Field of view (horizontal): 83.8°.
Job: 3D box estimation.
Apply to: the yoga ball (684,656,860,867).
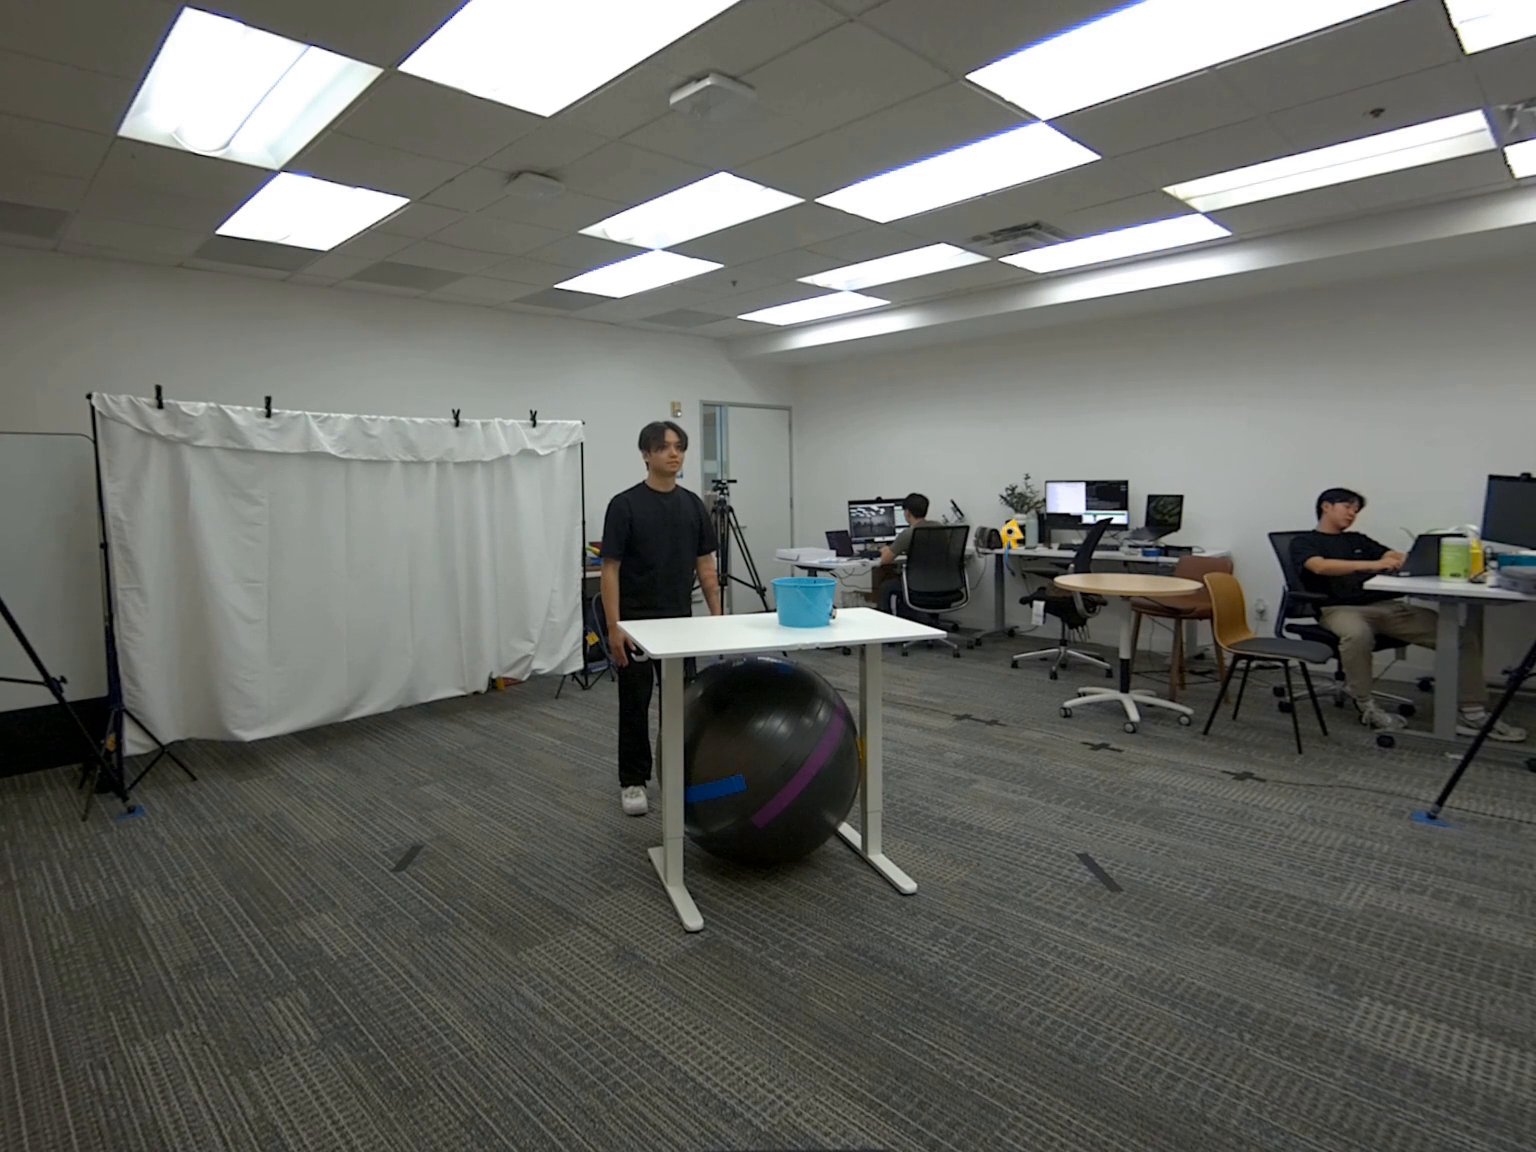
[{"bbox_3d":[-0.033,0.680,3.166,0.757,0.755,0.762,-1,5,-2],"label":"yoga ball"}]
